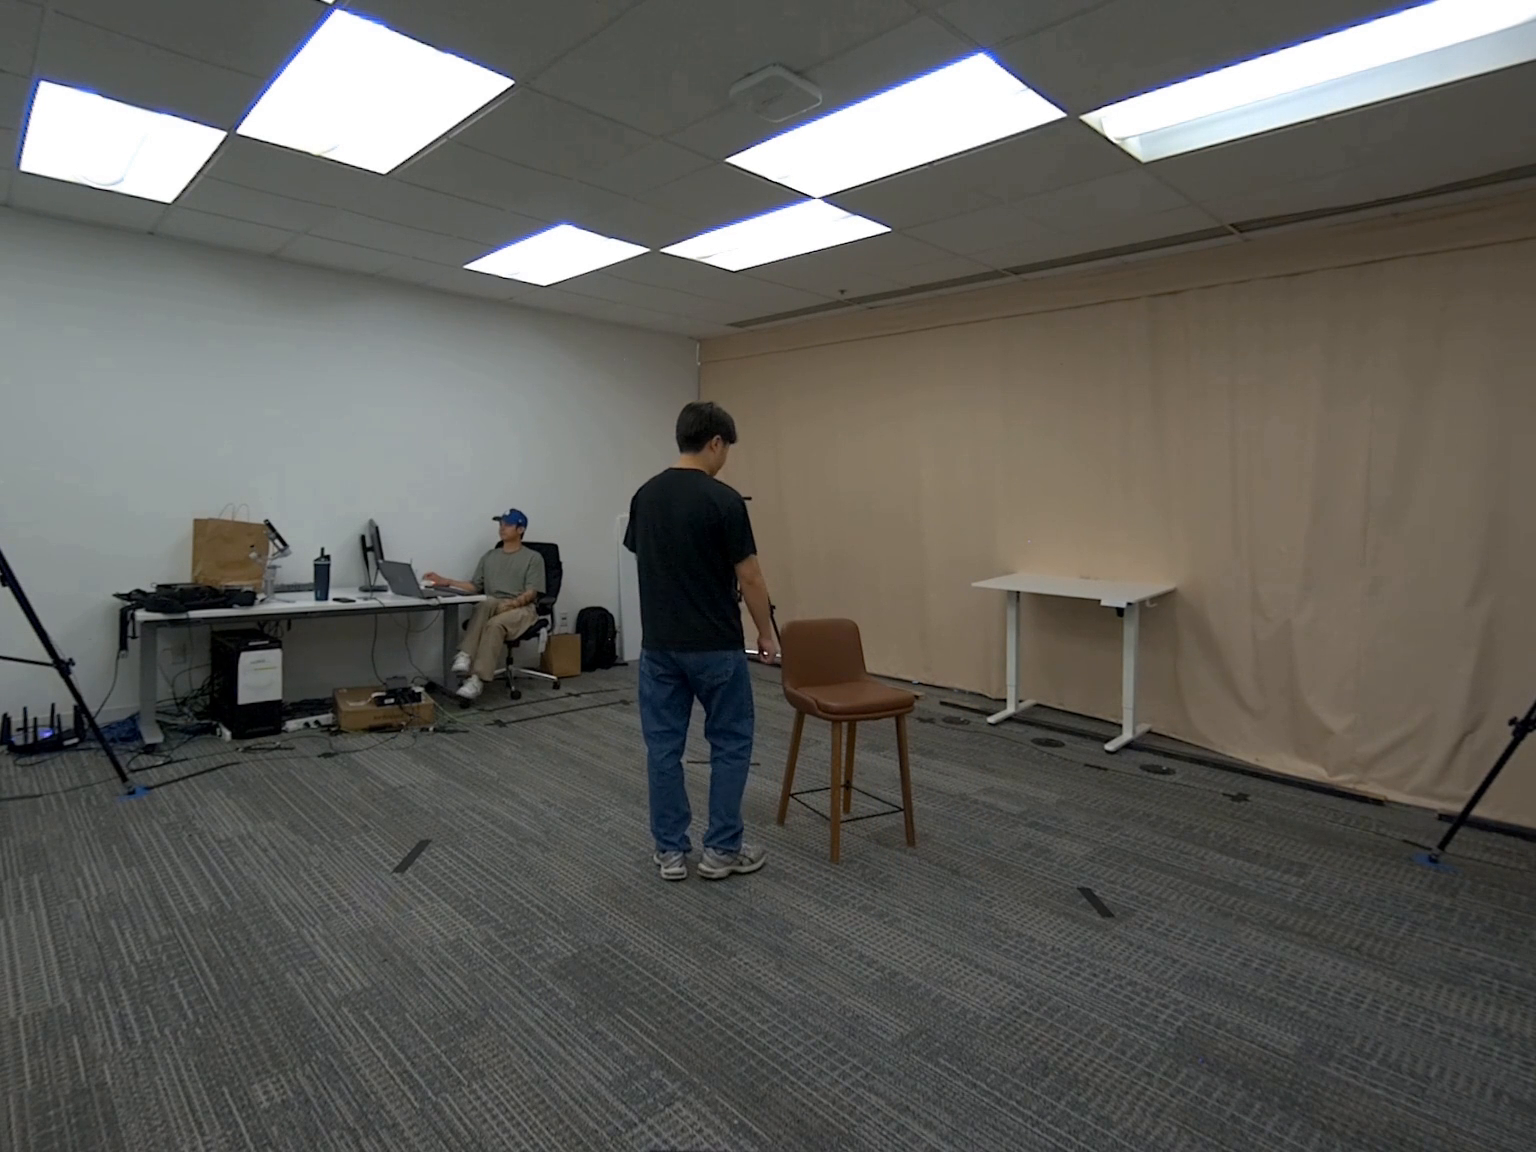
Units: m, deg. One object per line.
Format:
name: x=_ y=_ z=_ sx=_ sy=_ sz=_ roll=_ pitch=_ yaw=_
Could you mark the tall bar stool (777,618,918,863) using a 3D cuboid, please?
tall bar stool: x=0.318 y=0.649 z=3.498 sx=0.447 sy=0.889 sz=0.477 roll=0 pitch=1 yaw=-29
